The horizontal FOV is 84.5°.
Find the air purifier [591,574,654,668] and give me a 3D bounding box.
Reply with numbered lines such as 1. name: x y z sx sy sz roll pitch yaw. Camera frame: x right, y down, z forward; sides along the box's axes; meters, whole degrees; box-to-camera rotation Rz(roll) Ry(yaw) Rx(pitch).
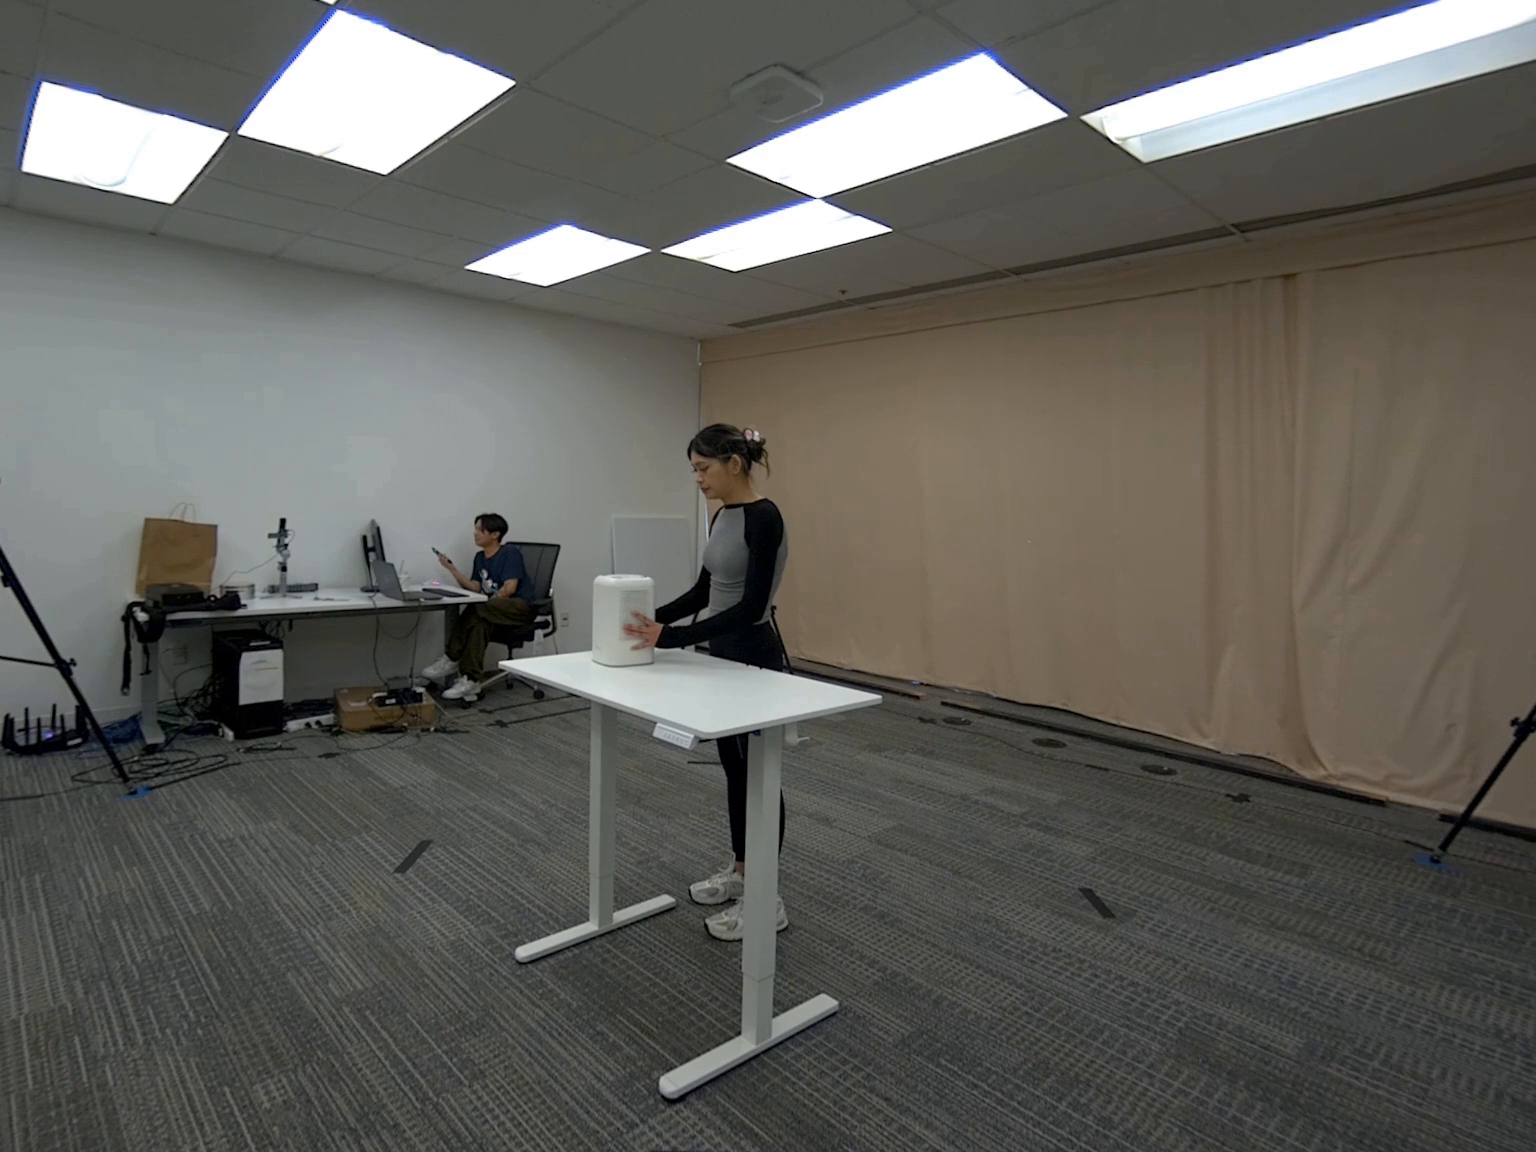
1. air purifier: -0.447 0.132 2.605 0.168 0.265 0.175 -1 2 -32
